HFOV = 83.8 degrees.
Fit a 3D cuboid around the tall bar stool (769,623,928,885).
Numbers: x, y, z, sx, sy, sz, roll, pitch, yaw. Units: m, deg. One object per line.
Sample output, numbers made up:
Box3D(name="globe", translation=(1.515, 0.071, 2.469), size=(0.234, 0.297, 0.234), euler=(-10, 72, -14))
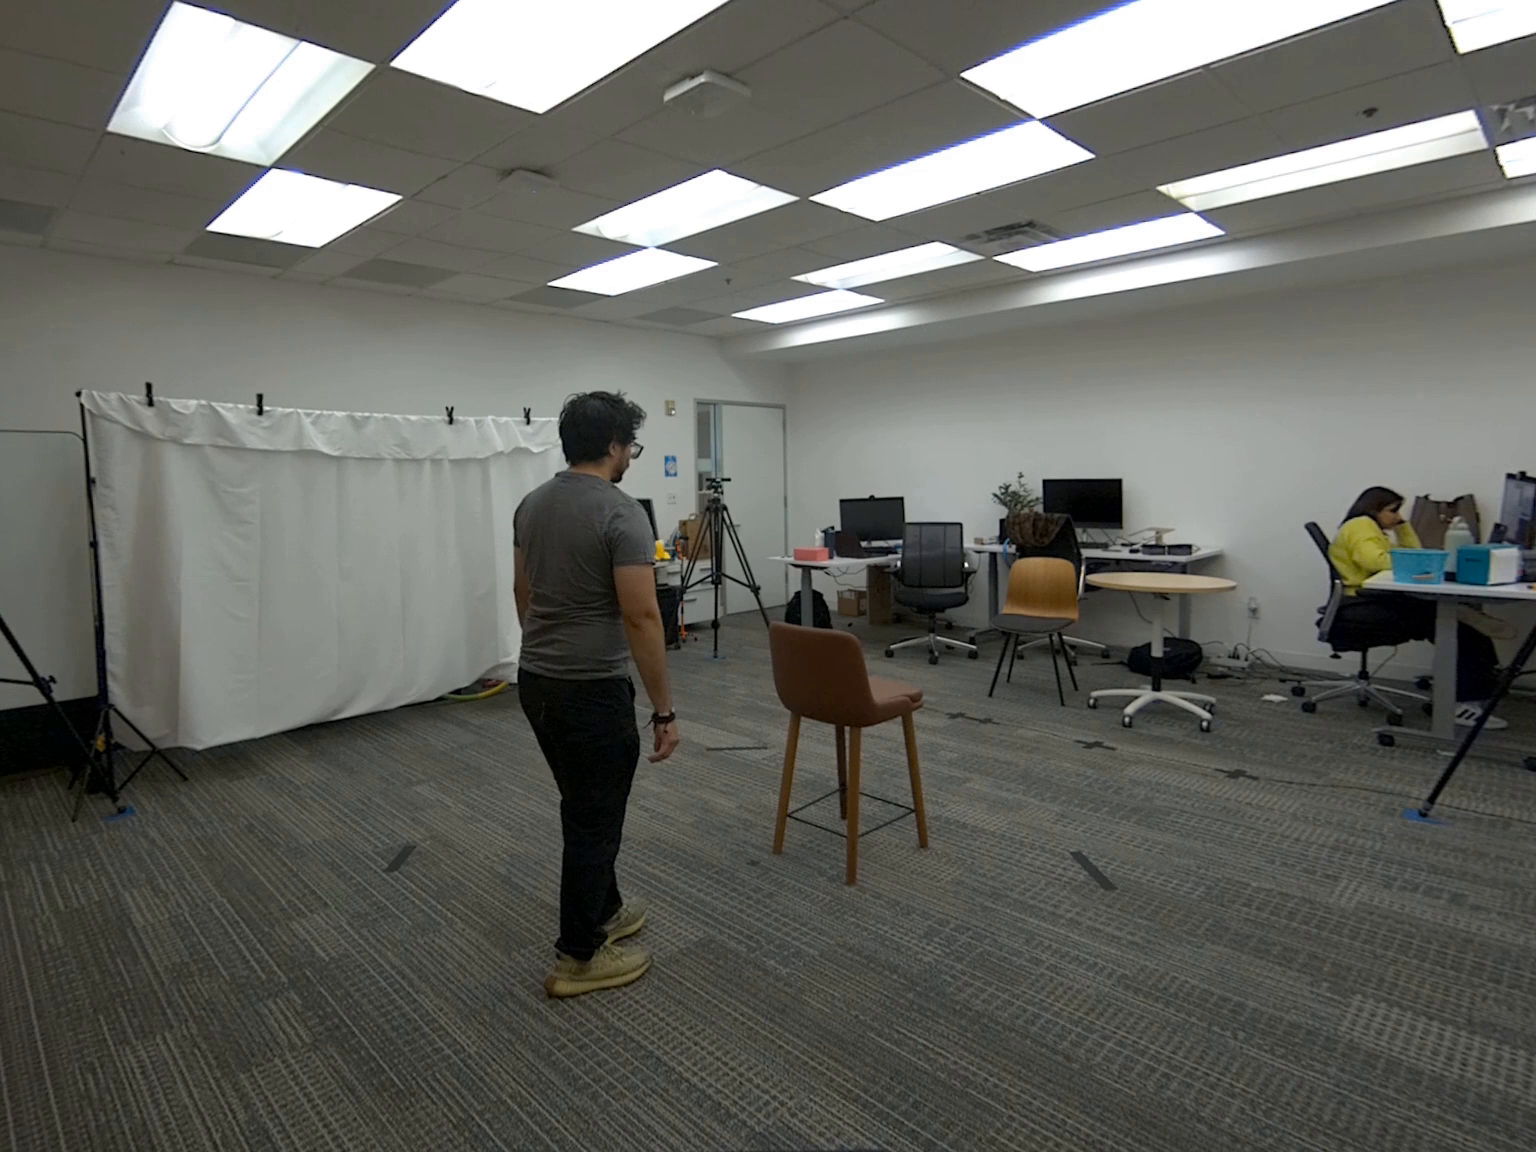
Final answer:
Box3D(name="tall bar stool", translation=(0.296, 0.592, 3.180), size=(0.456, 0.885, 0.470), euler=(-7, 7, -44))
